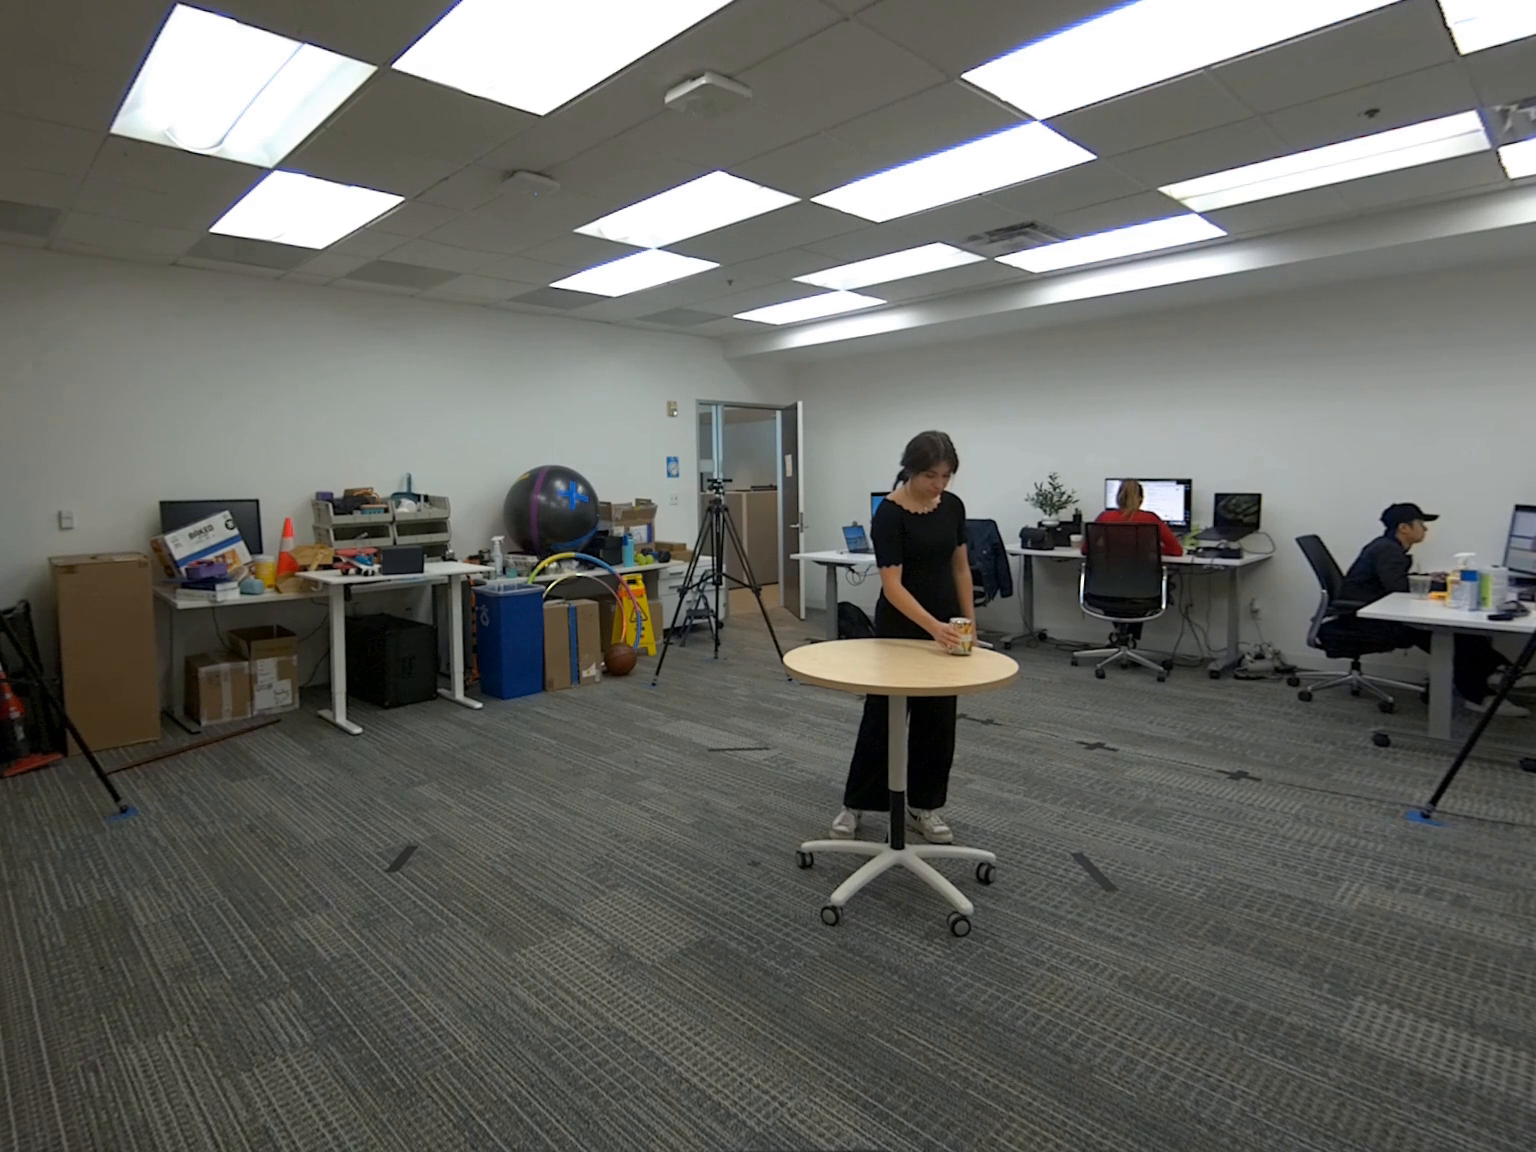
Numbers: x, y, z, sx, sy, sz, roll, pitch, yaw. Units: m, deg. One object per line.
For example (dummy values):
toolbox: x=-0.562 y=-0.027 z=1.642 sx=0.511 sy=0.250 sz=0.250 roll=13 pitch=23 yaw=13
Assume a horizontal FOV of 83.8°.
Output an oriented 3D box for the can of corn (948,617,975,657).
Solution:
can of corn: x=0.647 y=0.206 z=2.932 sx=0.074 sy=0.111 sz=0.074 roll=-2 pitch=2 yaw=-2
